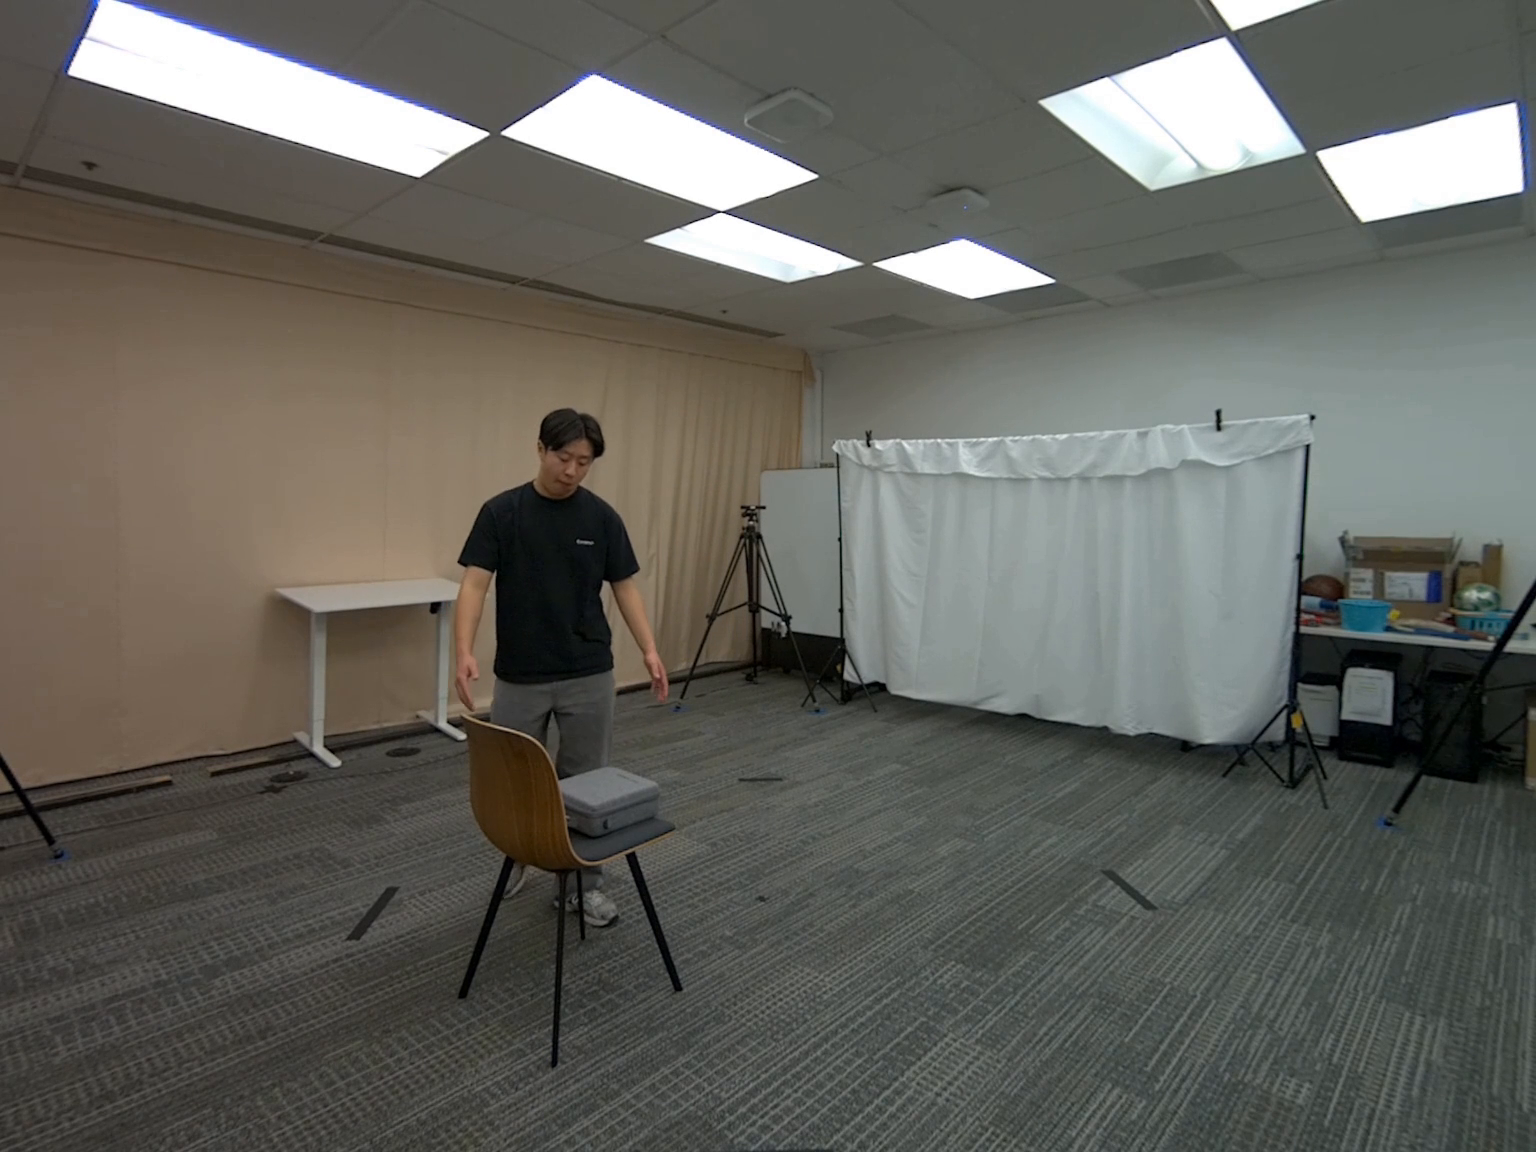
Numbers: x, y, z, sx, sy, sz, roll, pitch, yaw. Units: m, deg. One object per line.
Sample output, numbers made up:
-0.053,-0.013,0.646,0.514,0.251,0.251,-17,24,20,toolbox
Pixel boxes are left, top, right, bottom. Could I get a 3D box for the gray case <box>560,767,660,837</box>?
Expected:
-0.485,0.652,2.456,0.272,0.103,0.279,5,8,43,gray case
